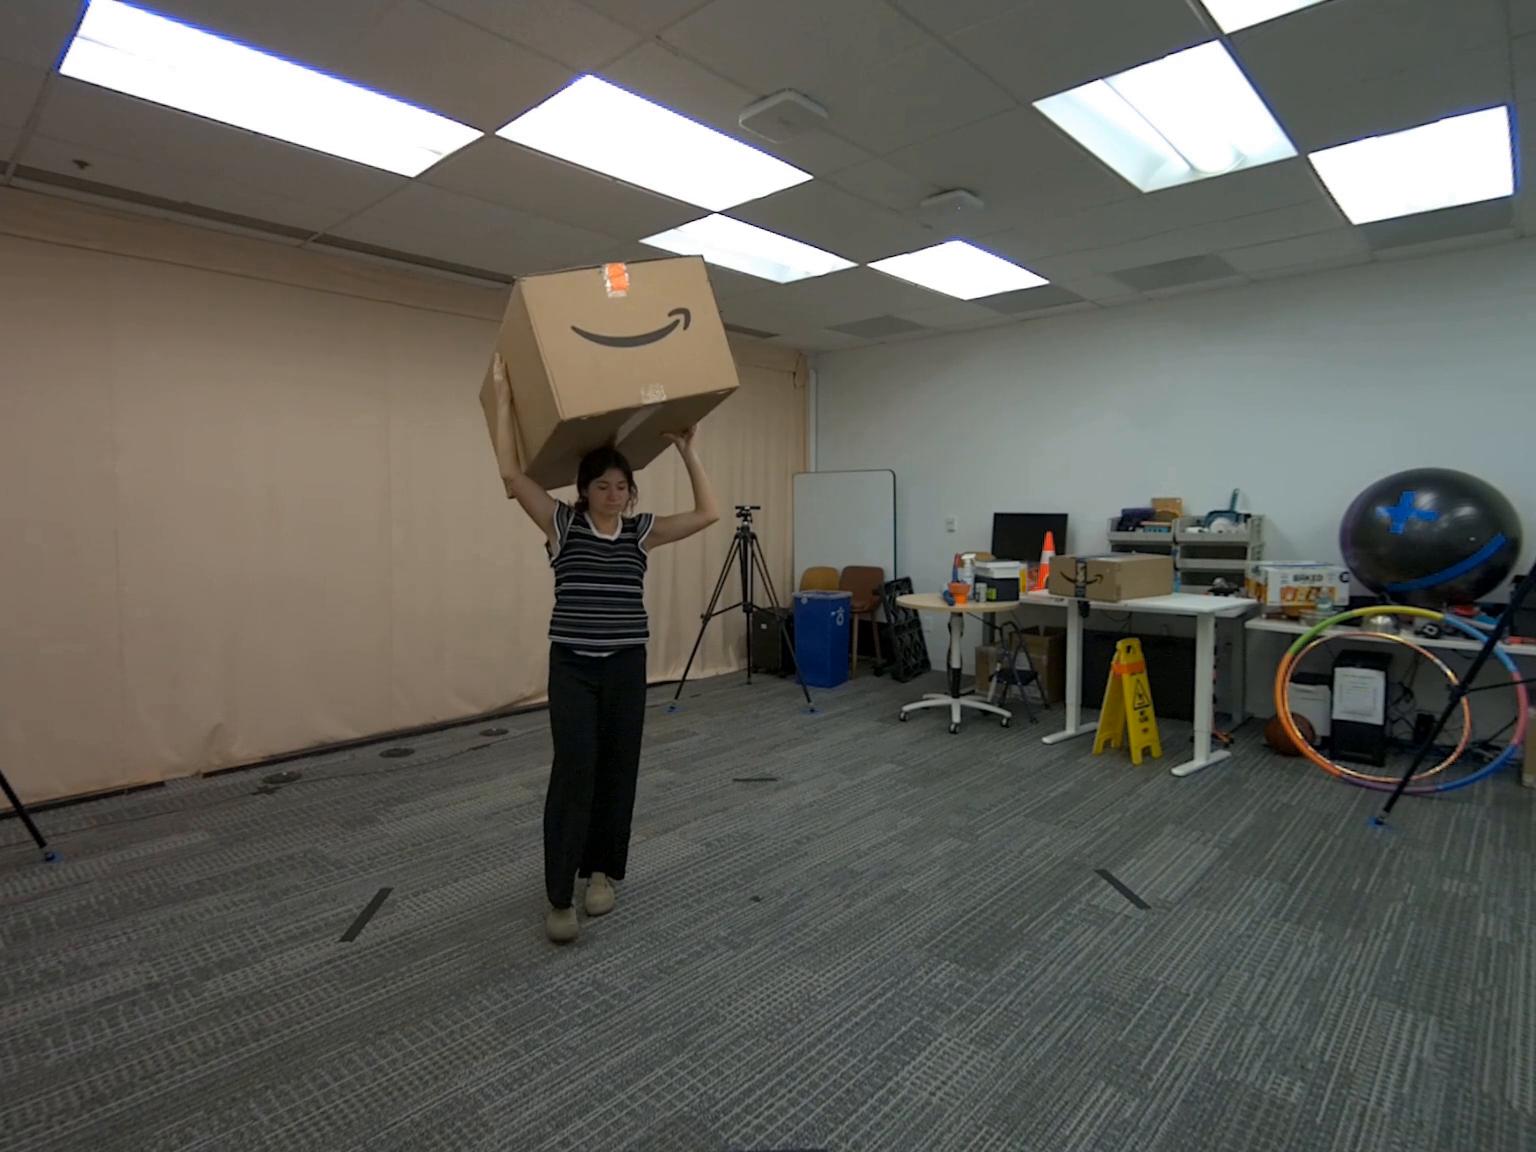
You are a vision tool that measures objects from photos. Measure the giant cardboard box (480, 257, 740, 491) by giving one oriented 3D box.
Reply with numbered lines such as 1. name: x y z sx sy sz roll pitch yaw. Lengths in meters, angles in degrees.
1. giant cardboard box: -0.593 -0.628 2.879 0.566 0.427 1.044 -16 -1 -26
